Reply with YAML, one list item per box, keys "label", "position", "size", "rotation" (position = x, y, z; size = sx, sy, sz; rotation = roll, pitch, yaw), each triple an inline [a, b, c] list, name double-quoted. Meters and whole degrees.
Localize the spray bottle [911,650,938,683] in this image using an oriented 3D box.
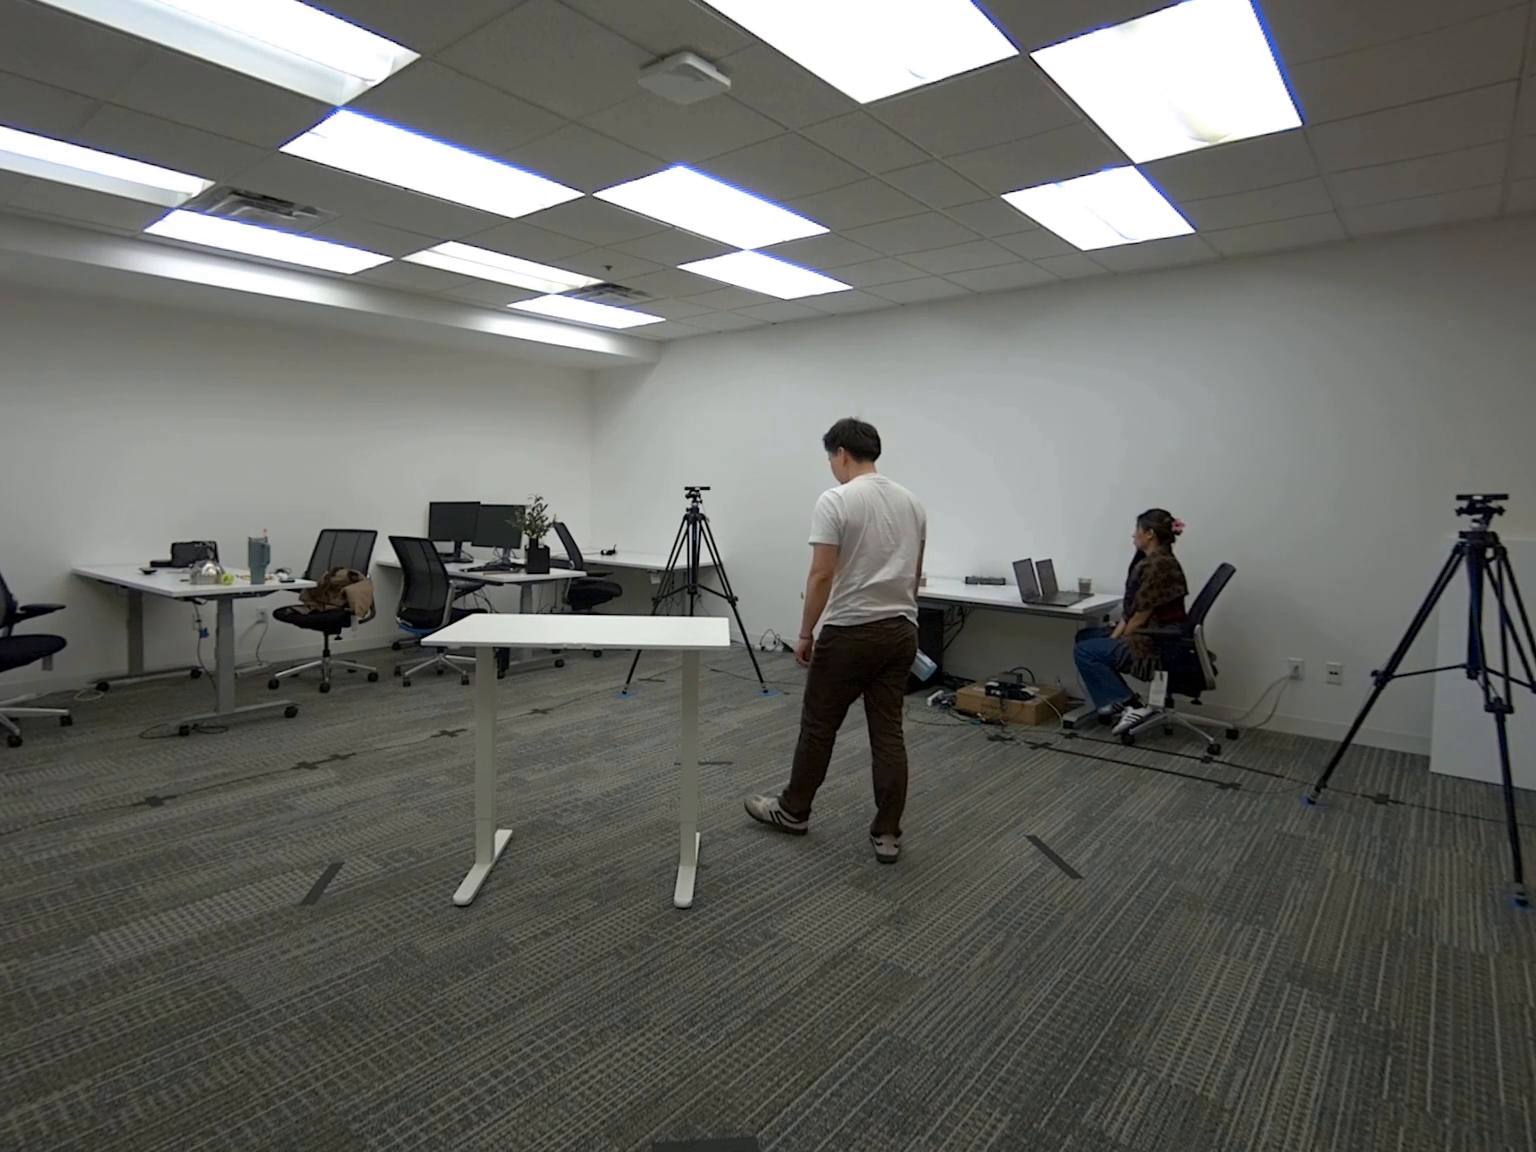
- label: "spray bottle"
  position: [0.544, 0.297, 3.494]
  size: [0.306, 0.087, 0.087]
  rotation: [42, -18, 21]
